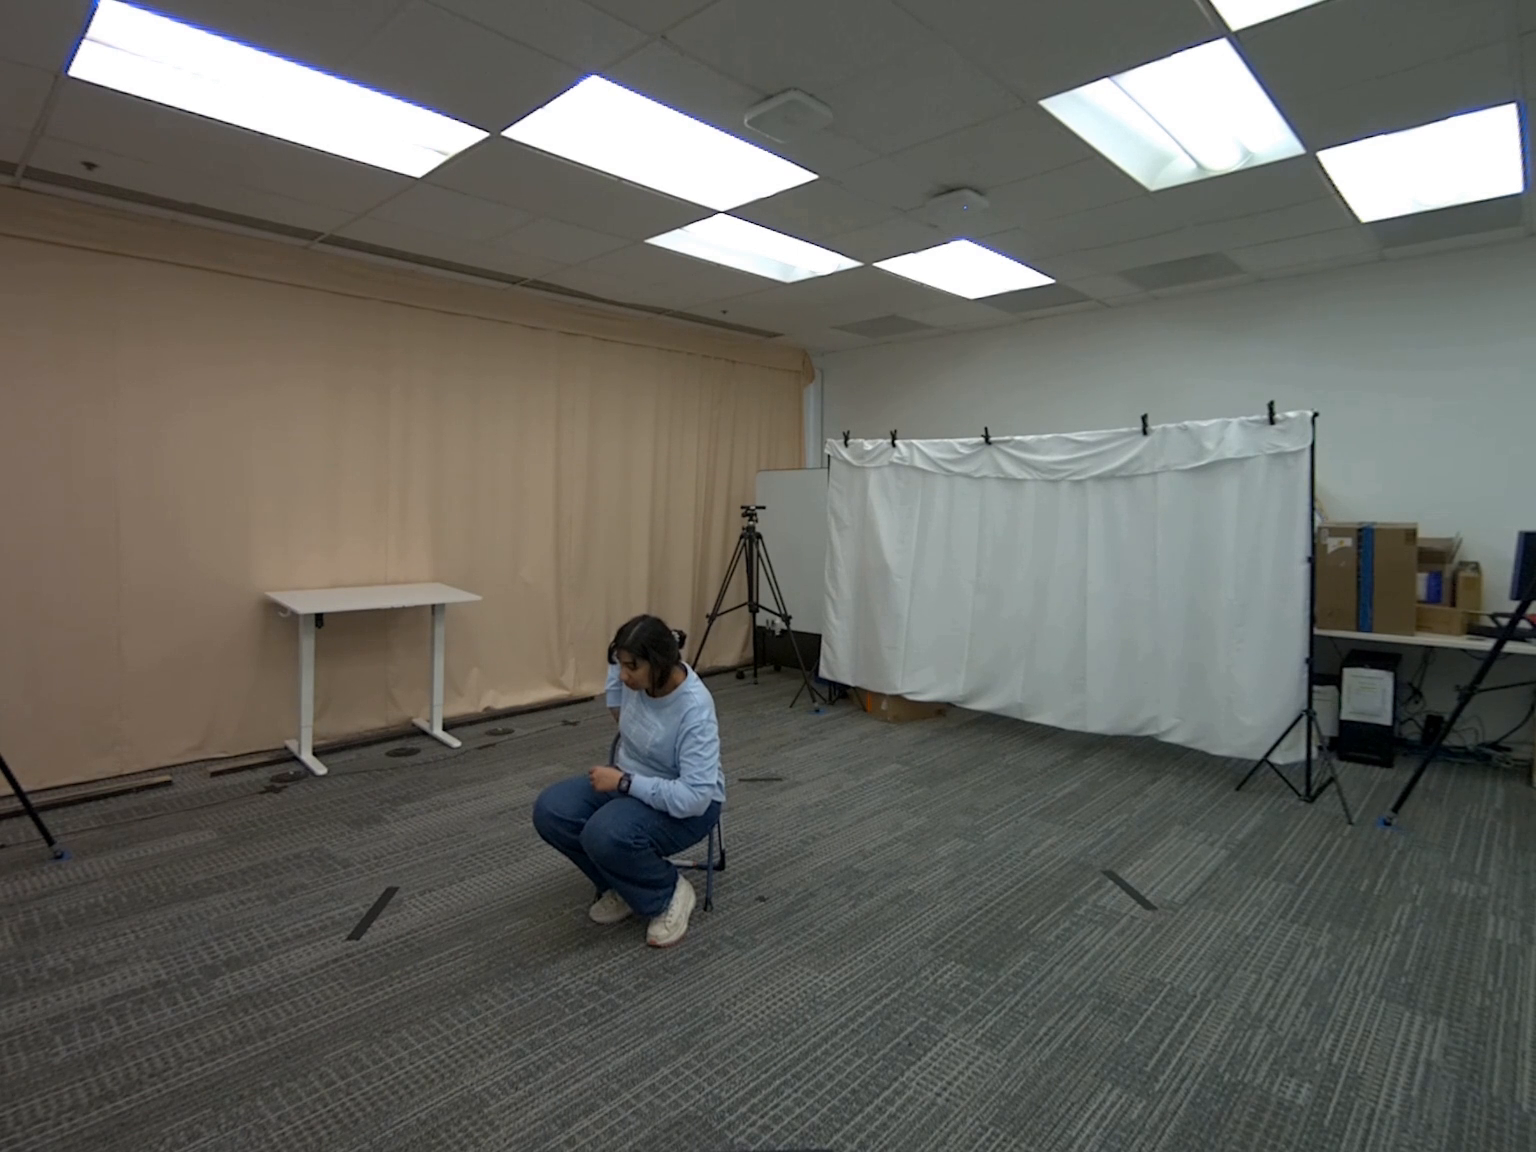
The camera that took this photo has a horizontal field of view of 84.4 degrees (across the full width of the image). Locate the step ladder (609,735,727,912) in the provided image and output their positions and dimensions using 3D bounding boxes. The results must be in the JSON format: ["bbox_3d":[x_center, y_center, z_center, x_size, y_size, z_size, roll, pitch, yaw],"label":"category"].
[{"bbox_3d":[-0.382,0.842,3.094,0.434,0.605,0.347,2,3,7],"label":"step ladder"}]
